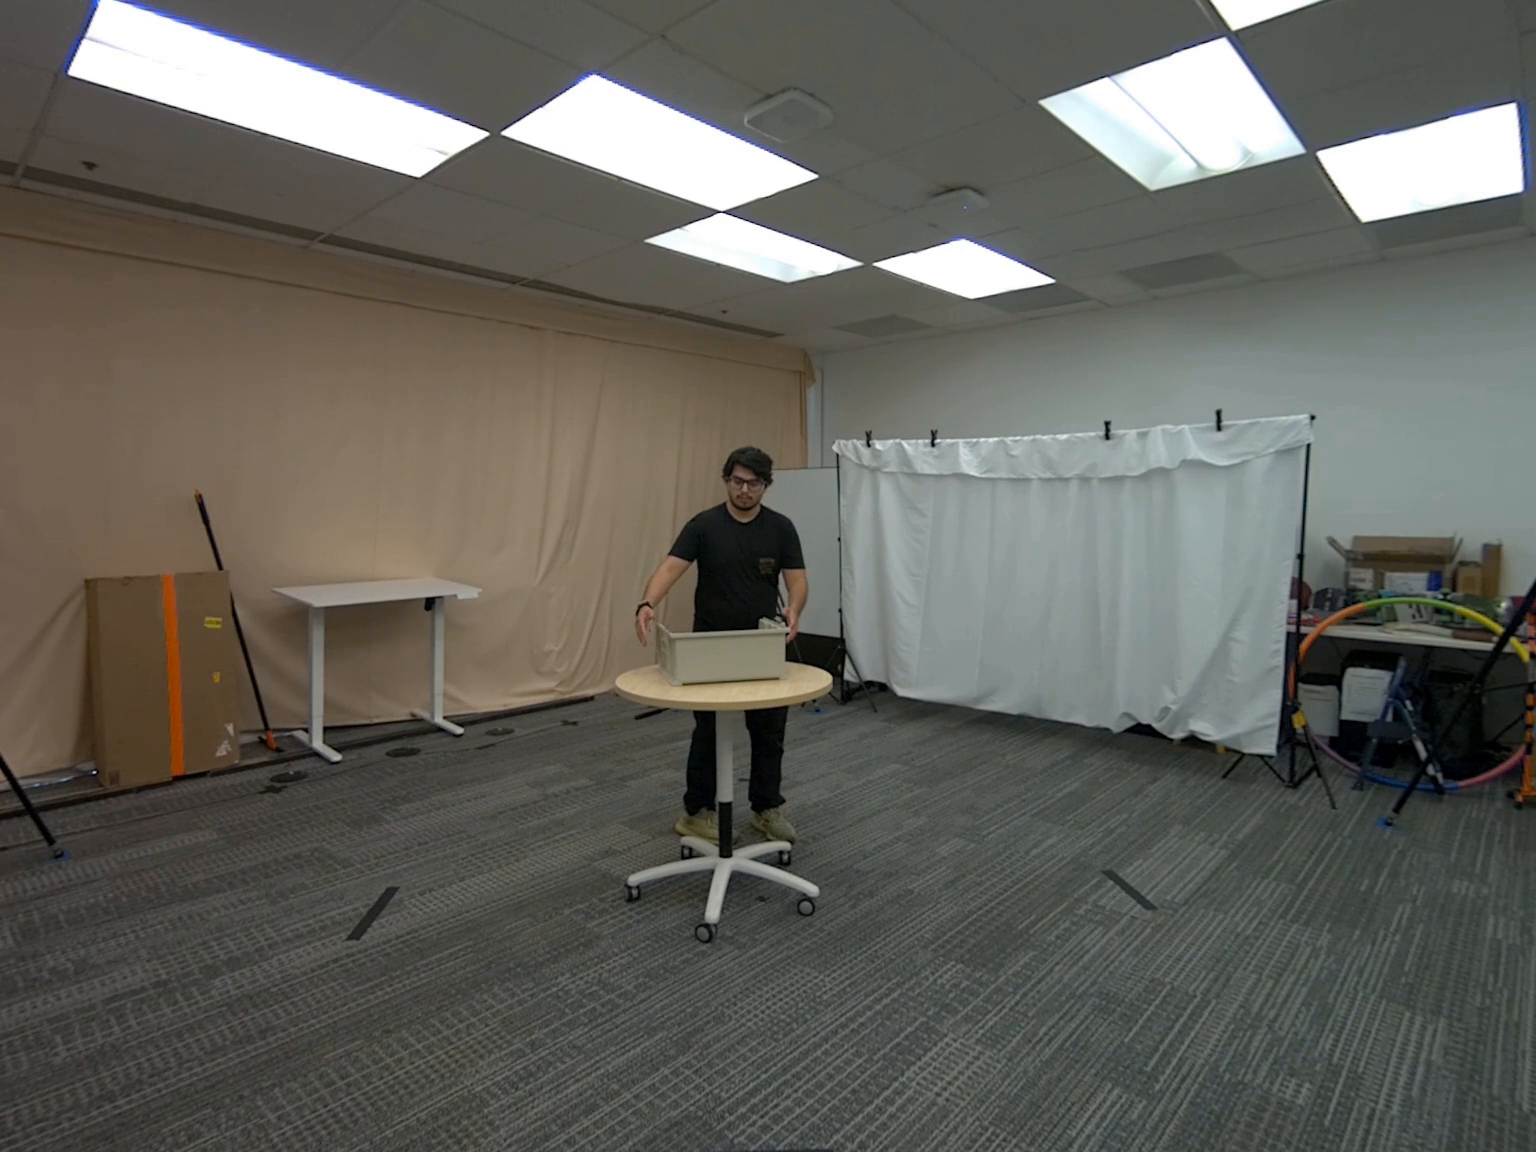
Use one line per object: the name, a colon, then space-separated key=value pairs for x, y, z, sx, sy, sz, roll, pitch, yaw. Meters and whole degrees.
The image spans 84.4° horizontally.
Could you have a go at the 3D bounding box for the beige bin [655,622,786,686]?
beige bin: x=-0.175 y=0.262 z=3.053 sx=0.416 sy=0.188 sz=0.384 roll=1 pitch=5 yaw=-14
